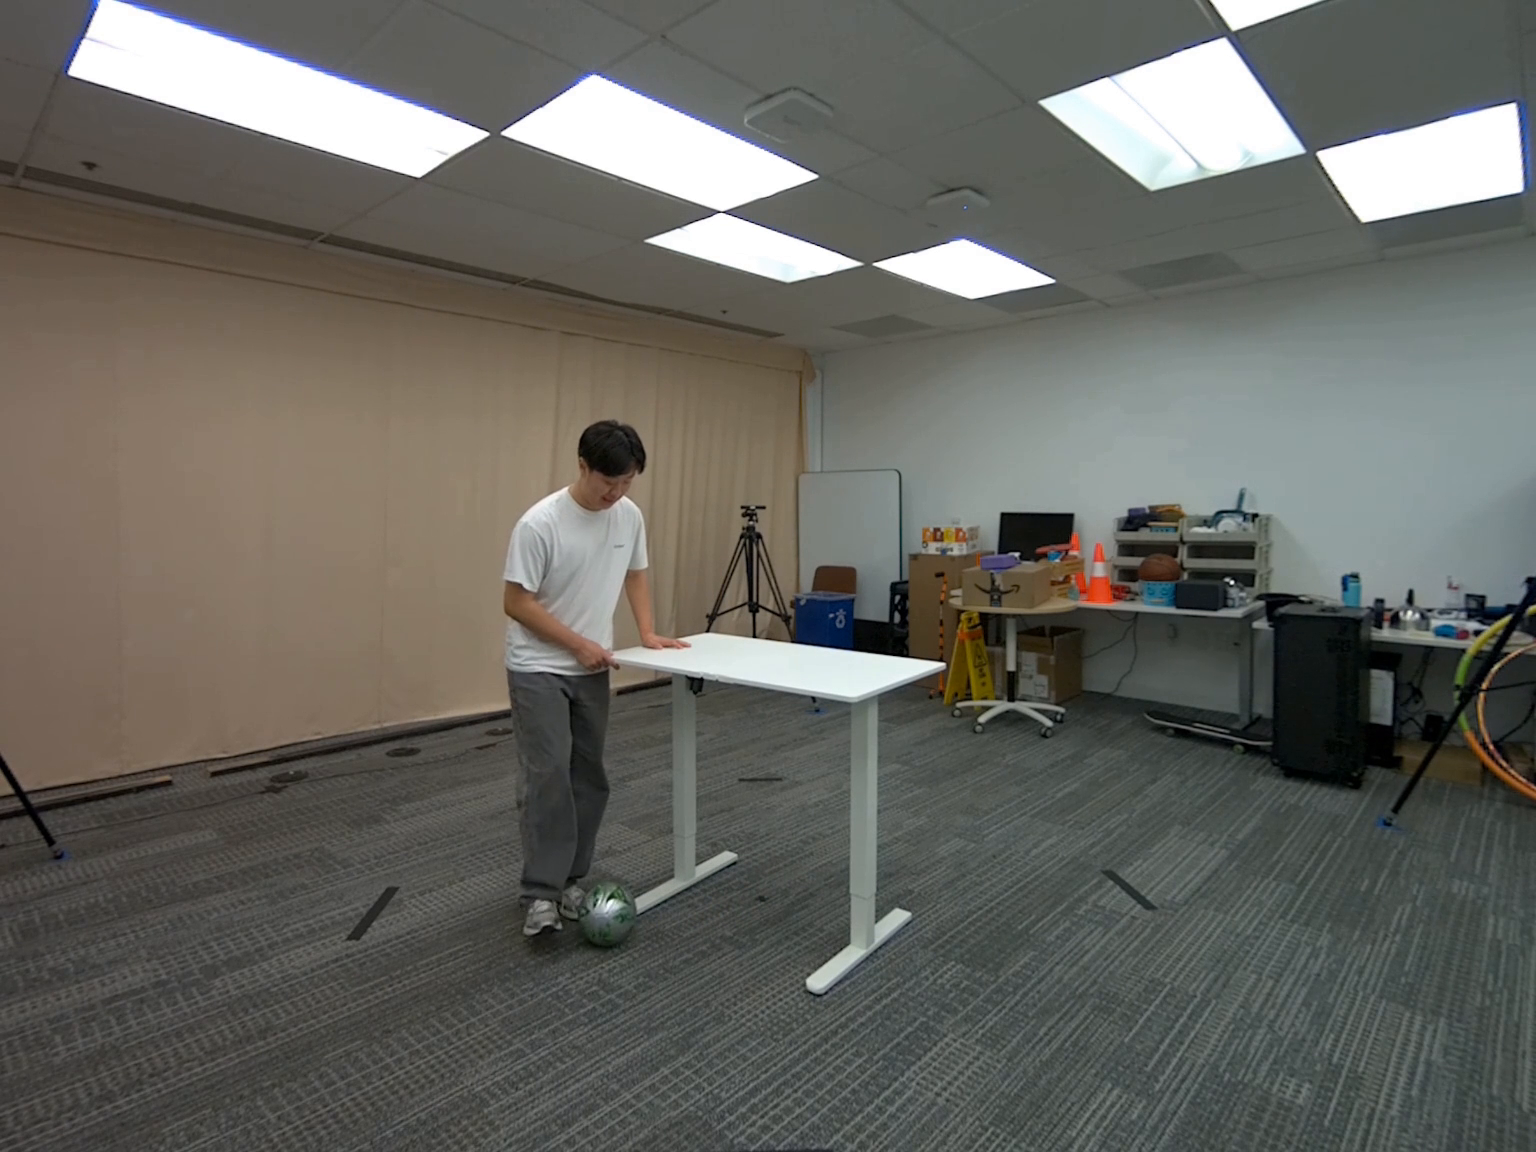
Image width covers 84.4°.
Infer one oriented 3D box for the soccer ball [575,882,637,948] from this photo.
[{"bbox_3d":[-0.503,1.085,2.678,0.187,0.187,0.188,0,4,-2],"label":"soccer ball"}]
